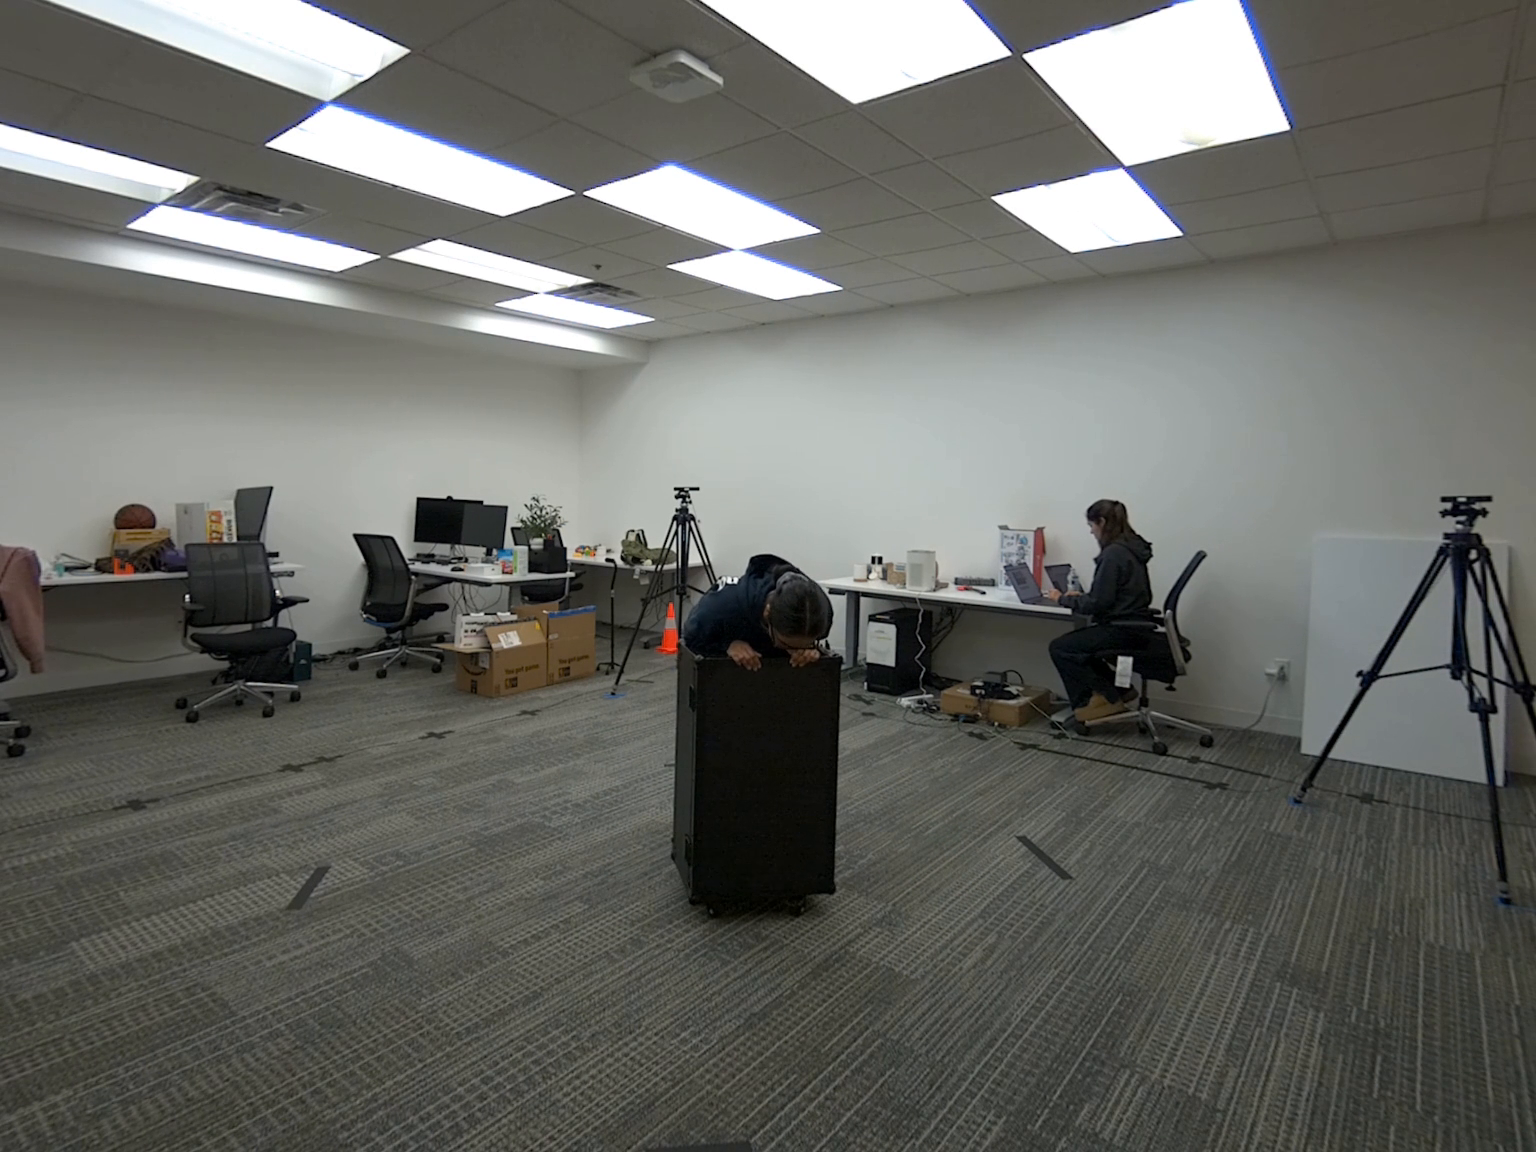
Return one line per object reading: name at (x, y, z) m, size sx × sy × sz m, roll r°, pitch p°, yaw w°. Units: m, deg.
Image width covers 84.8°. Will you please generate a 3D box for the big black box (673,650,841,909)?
big black box at (-0.072, 0.664, 2.906) m, size 0.514 × 0.861 × 0.402 m, roll 1°, pitch 1°, yaw -13°
